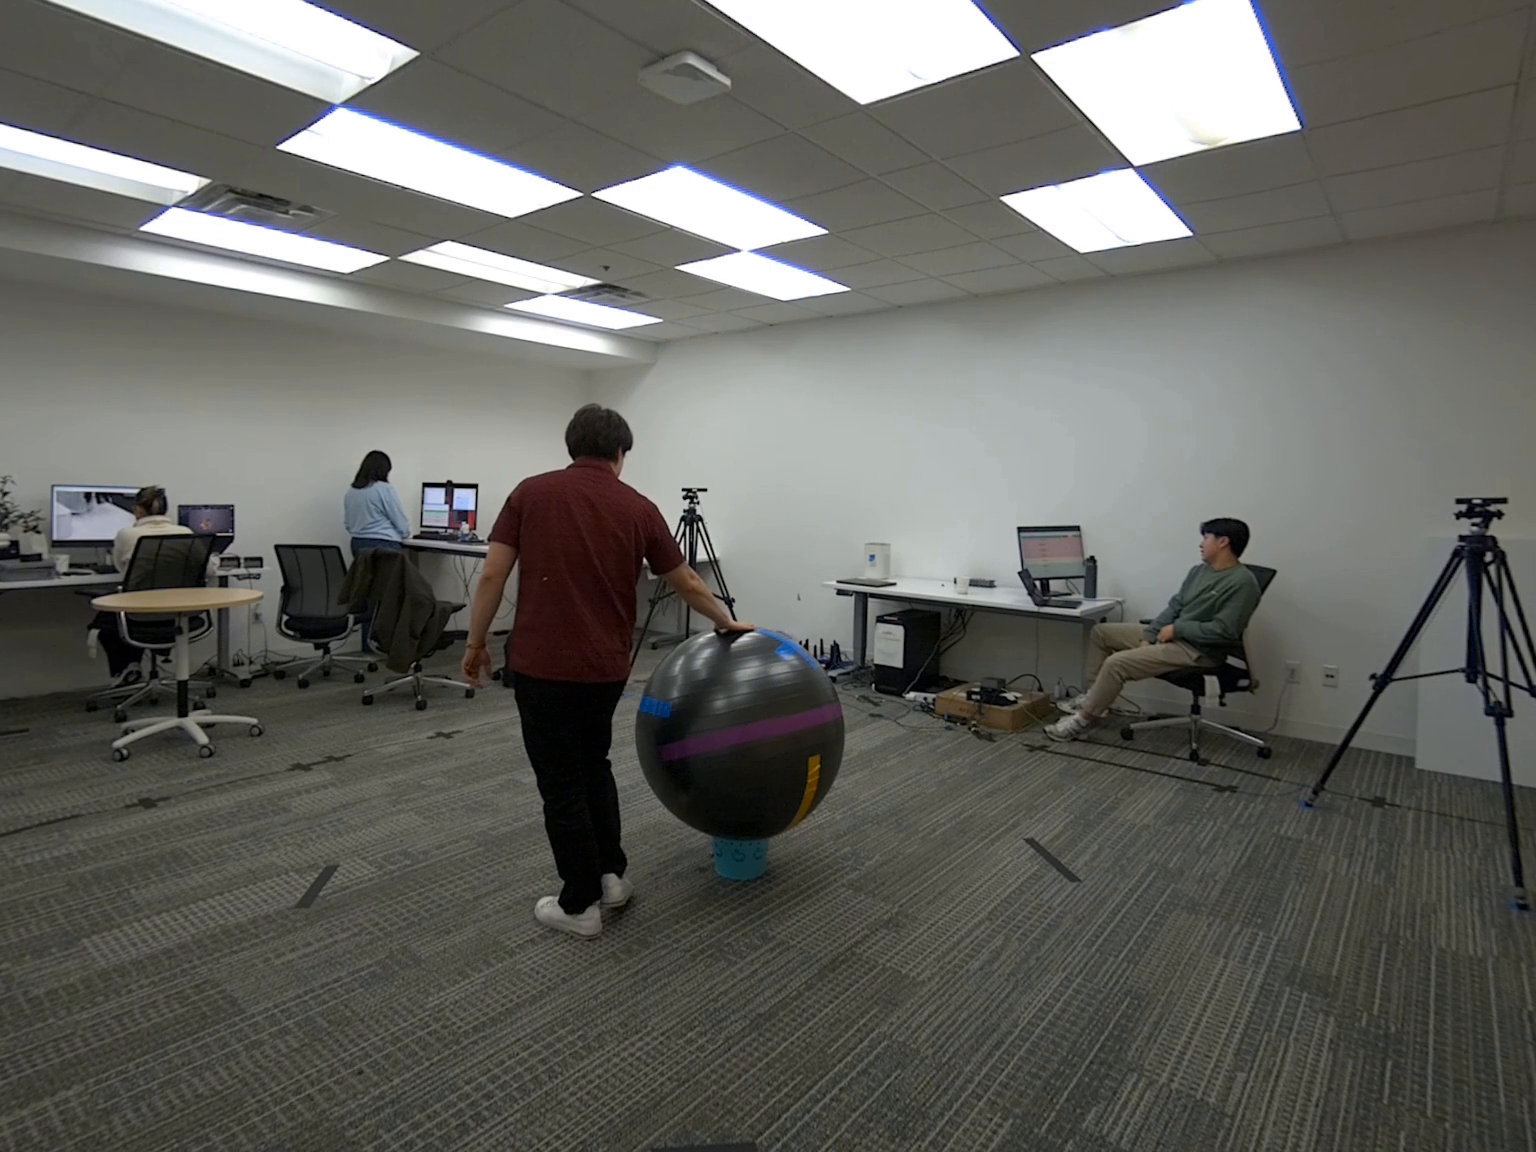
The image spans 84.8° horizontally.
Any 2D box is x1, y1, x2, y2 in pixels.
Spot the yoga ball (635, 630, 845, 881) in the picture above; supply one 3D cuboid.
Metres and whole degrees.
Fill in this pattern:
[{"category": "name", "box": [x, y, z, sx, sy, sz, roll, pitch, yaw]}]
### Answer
[{"category": "yoga ball", "box": [-0.116, 0.561, 3.097, 0.757, 0.755, 0.762, 1, 4, -2]}]
